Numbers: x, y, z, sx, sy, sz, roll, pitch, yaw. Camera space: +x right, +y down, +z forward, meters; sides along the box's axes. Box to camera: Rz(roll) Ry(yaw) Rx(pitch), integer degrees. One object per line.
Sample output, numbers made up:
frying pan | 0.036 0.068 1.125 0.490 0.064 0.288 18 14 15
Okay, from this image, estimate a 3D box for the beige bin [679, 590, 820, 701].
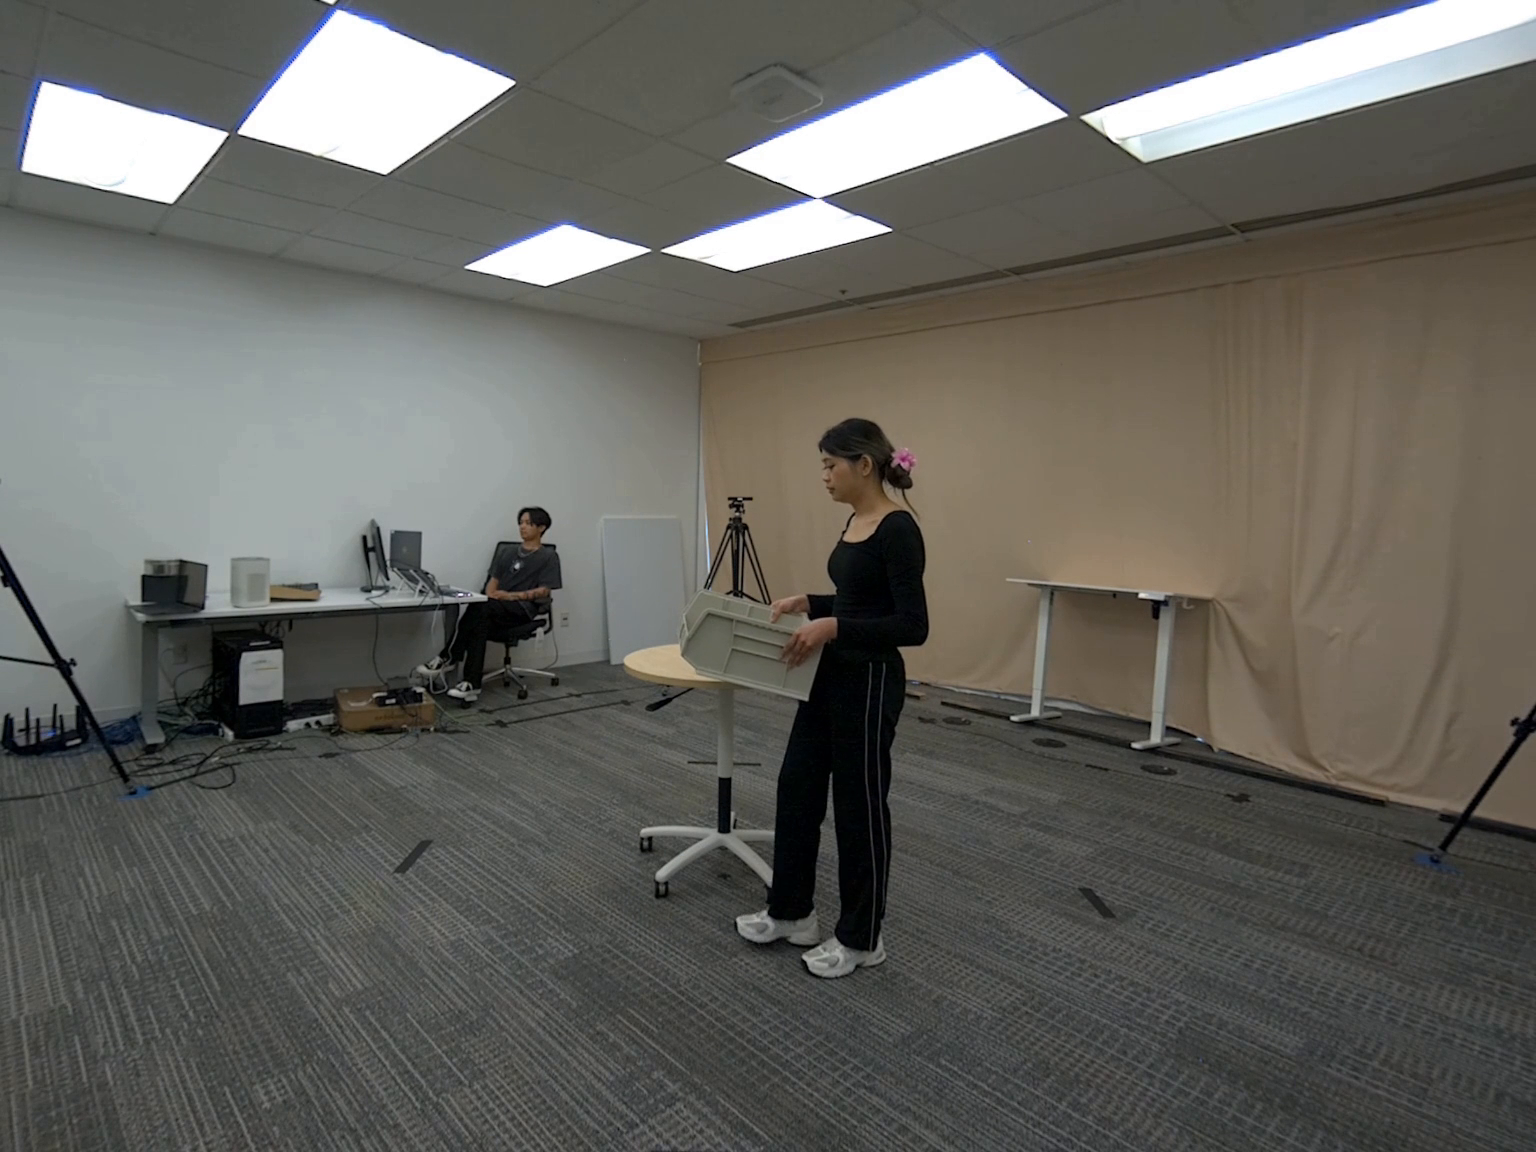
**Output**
beige bin | -0.074 0.197 2.436 0.375 0.188 0.426 15 5 -7
